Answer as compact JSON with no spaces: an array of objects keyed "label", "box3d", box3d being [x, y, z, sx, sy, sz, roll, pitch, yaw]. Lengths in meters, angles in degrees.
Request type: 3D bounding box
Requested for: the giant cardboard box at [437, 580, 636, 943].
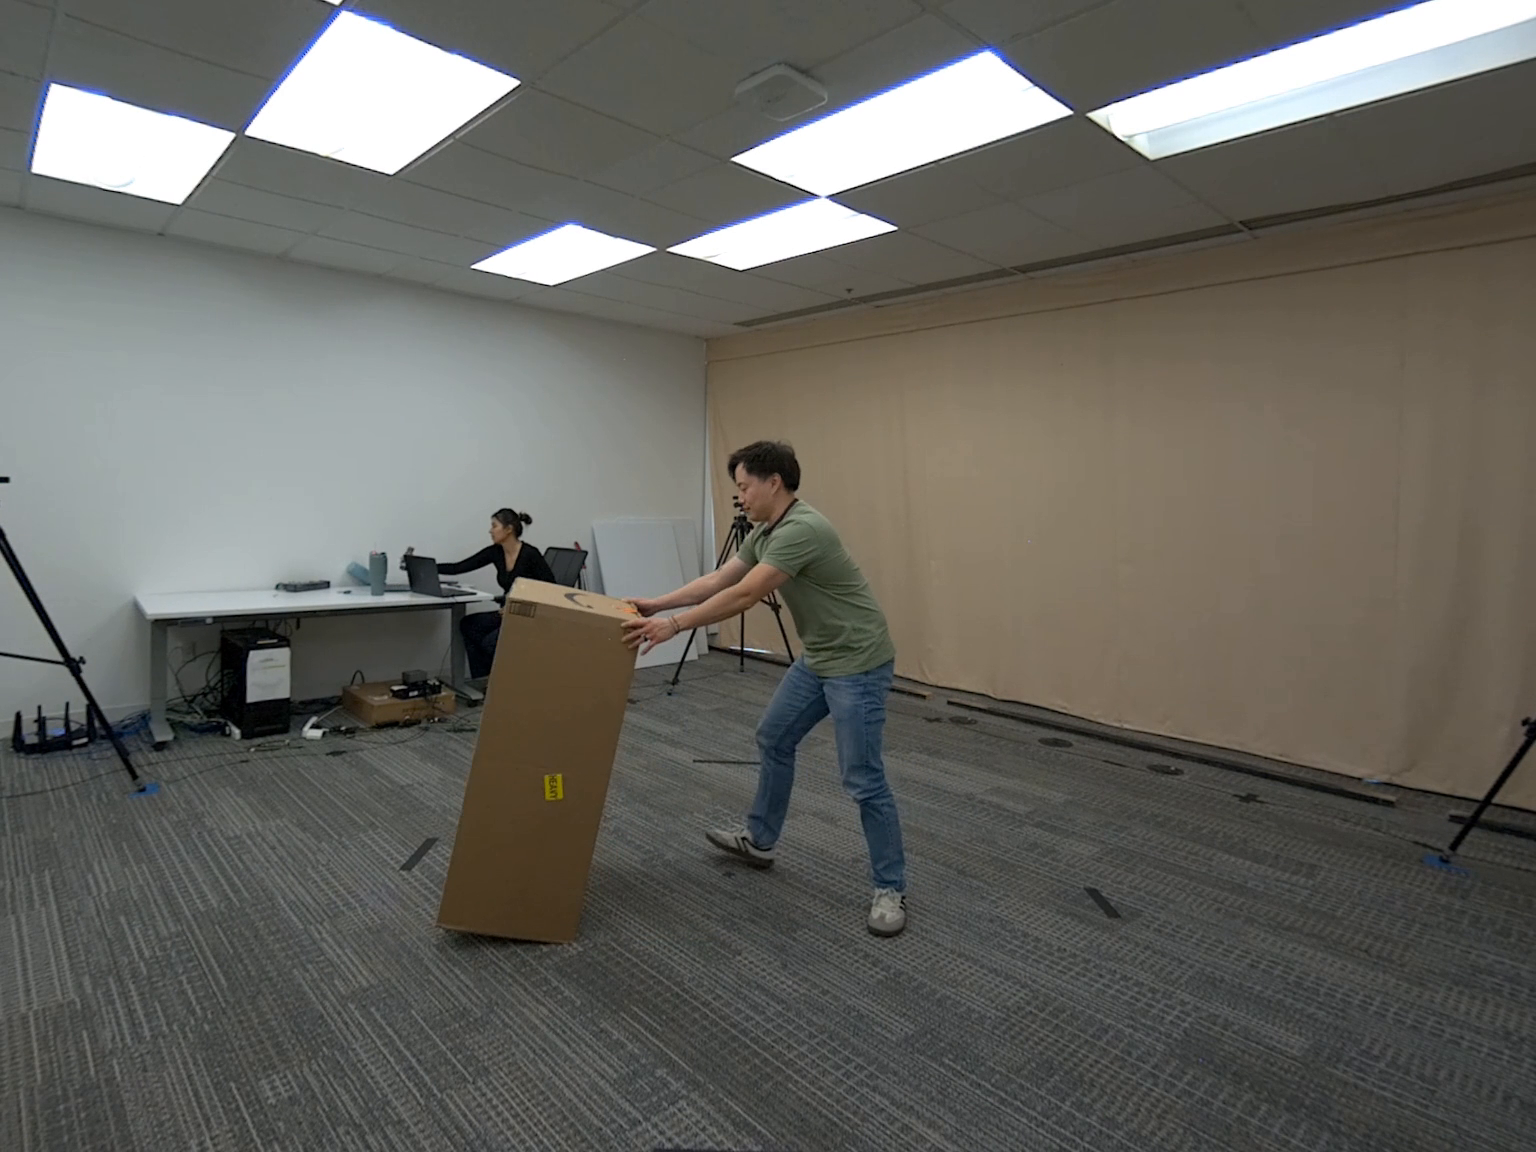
[{"label":"giant cardboard box","box3d":[-0.762,0.581,2.831,0.421,1.025,0.585,12,1,-14]}]
